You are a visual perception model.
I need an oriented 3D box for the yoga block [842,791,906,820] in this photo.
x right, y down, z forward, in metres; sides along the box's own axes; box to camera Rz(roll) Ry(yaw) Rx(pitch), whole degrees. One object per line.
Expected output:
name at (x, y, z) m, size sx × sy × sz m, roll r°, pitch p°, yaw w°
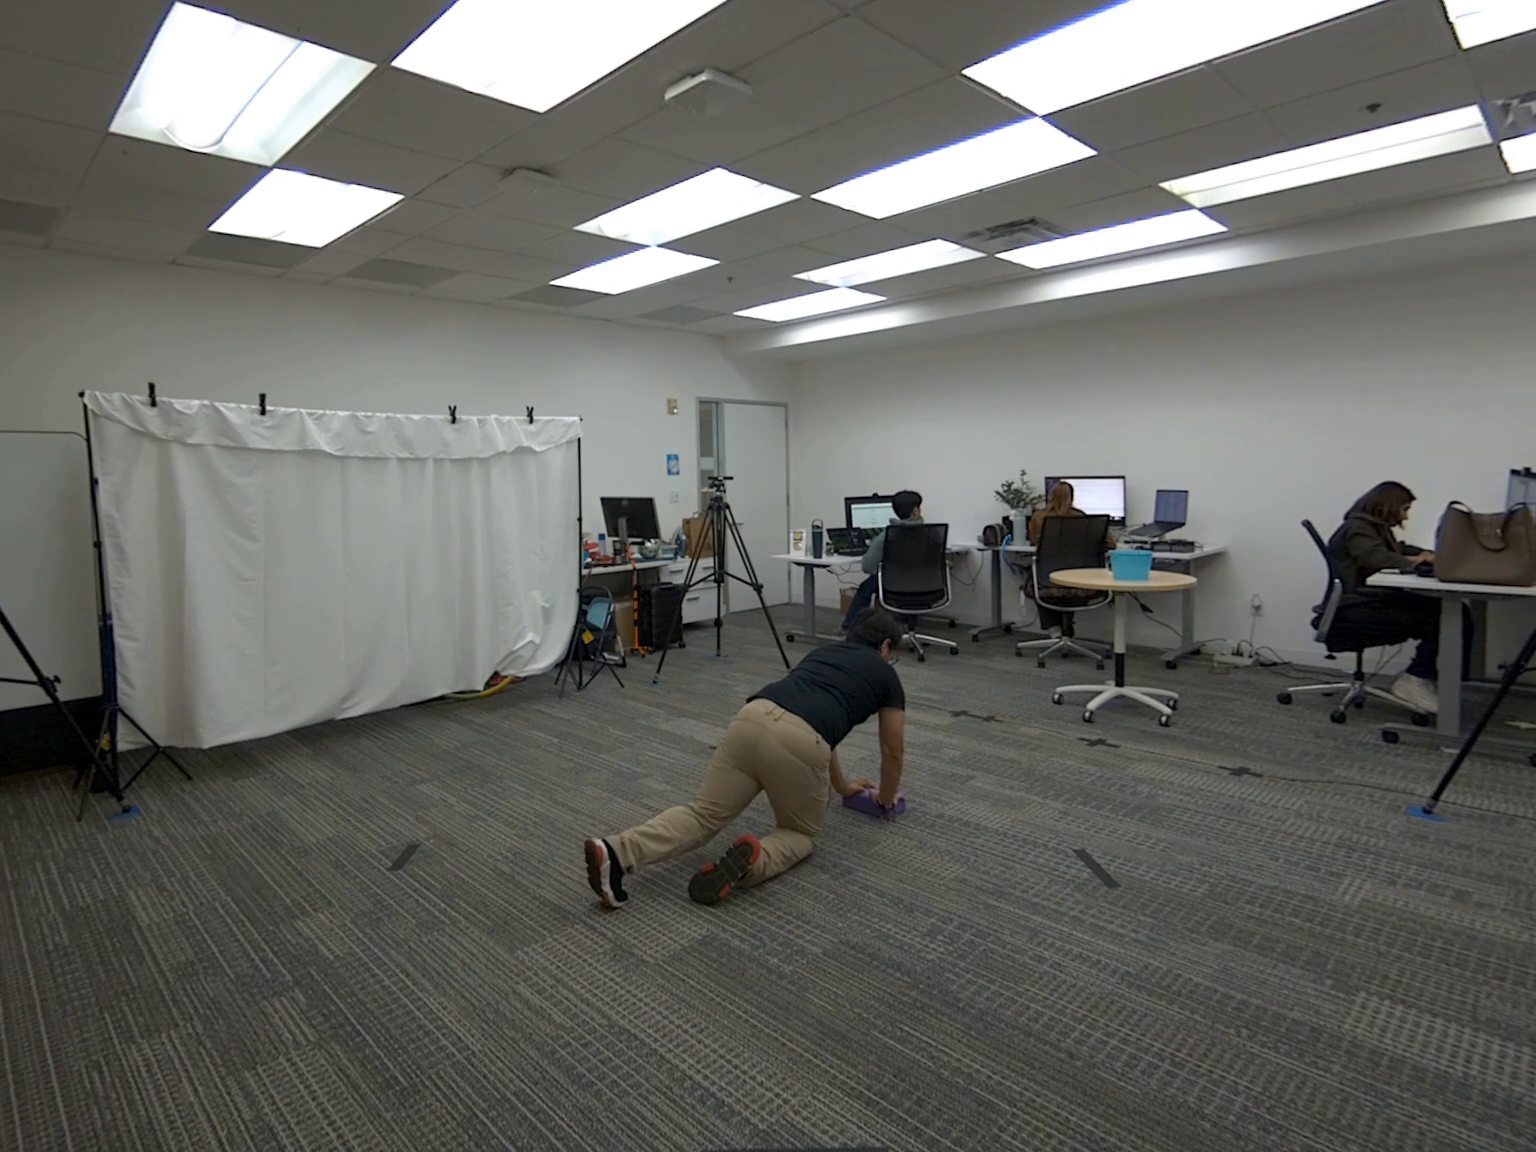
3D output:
yoga block at (0.446, 0.936, 3.584) m, size 0.236 × 0.076 × 0.145 m, roll 6°, pitch 7°, yaw 43°
